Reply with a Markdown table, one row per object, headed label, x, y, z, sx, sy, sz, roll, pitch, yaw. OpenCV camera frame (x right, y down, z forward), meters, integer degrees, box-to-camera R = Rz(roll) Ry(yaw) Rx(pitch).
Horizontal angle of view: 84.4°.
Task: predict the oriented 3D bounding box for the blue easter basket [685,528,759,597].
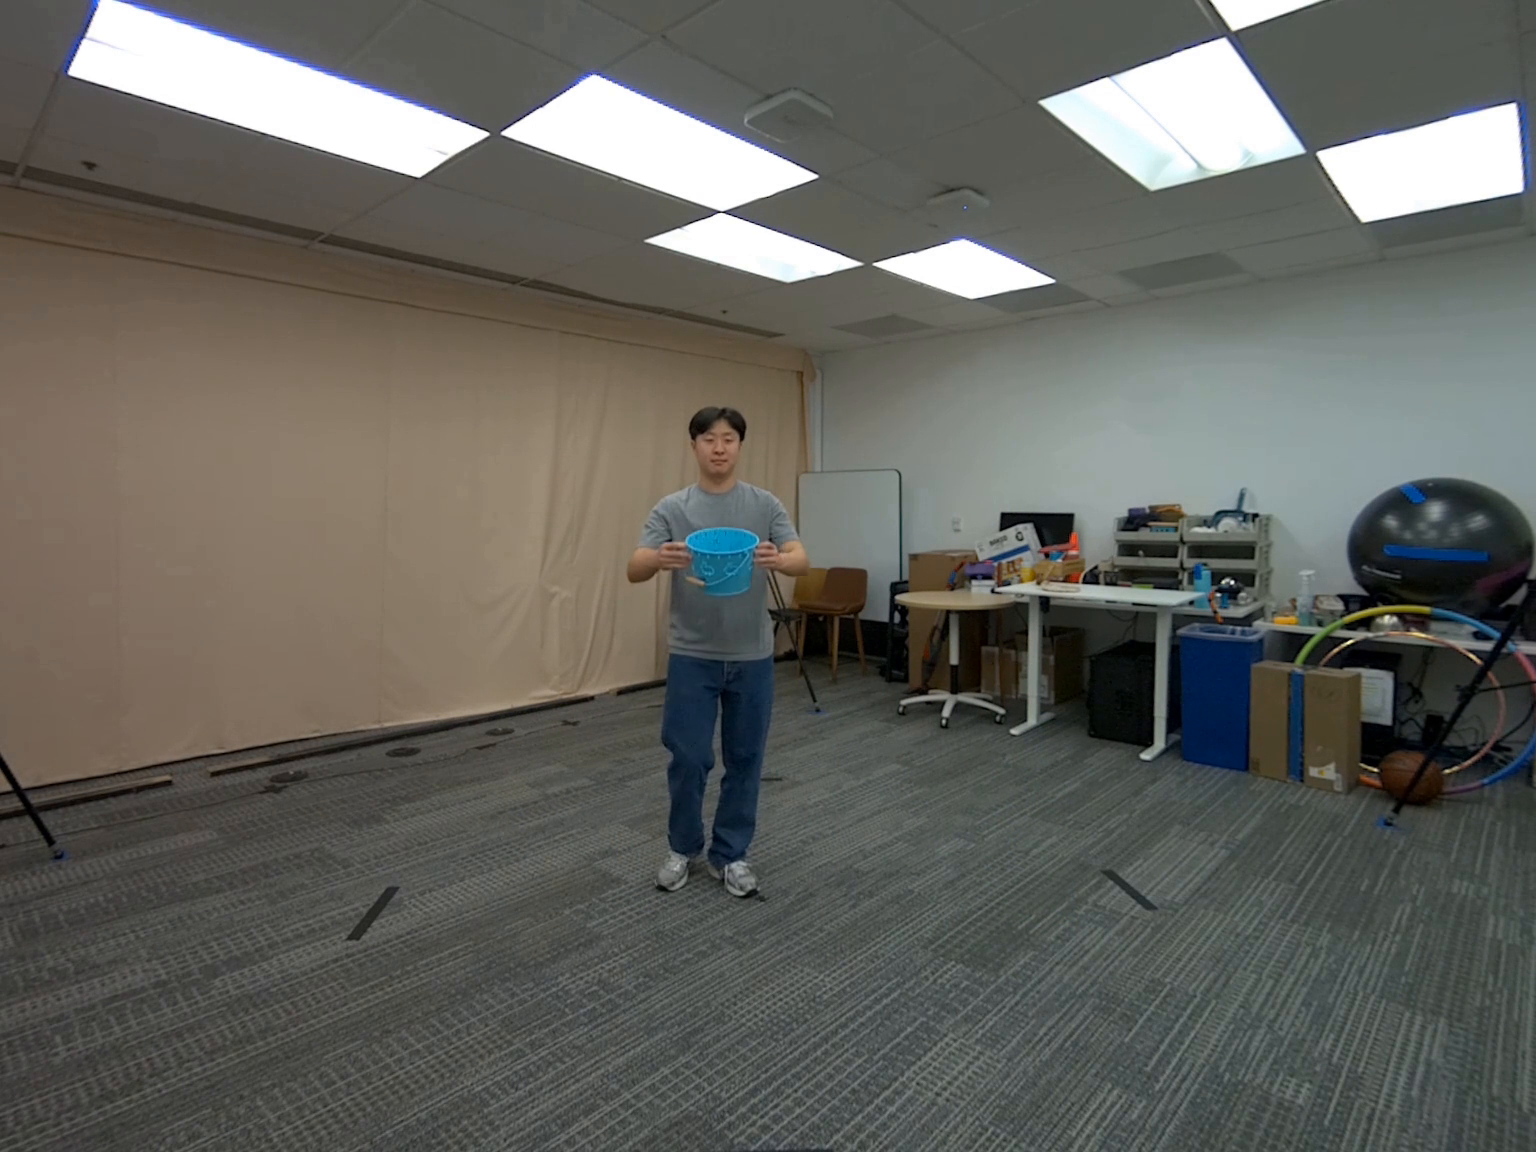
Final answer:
| label | x | y | z | sx | sy | sz | roll | pitch | yaw |
| --- | --- | --- | --- | --- | --- | --- | --- | --- | --- |
| blue easter basket | -0.156 | -0.046 | 2.688 | 0.243 | 0.154 | 0.247 | 0 | 21 | -2 |
